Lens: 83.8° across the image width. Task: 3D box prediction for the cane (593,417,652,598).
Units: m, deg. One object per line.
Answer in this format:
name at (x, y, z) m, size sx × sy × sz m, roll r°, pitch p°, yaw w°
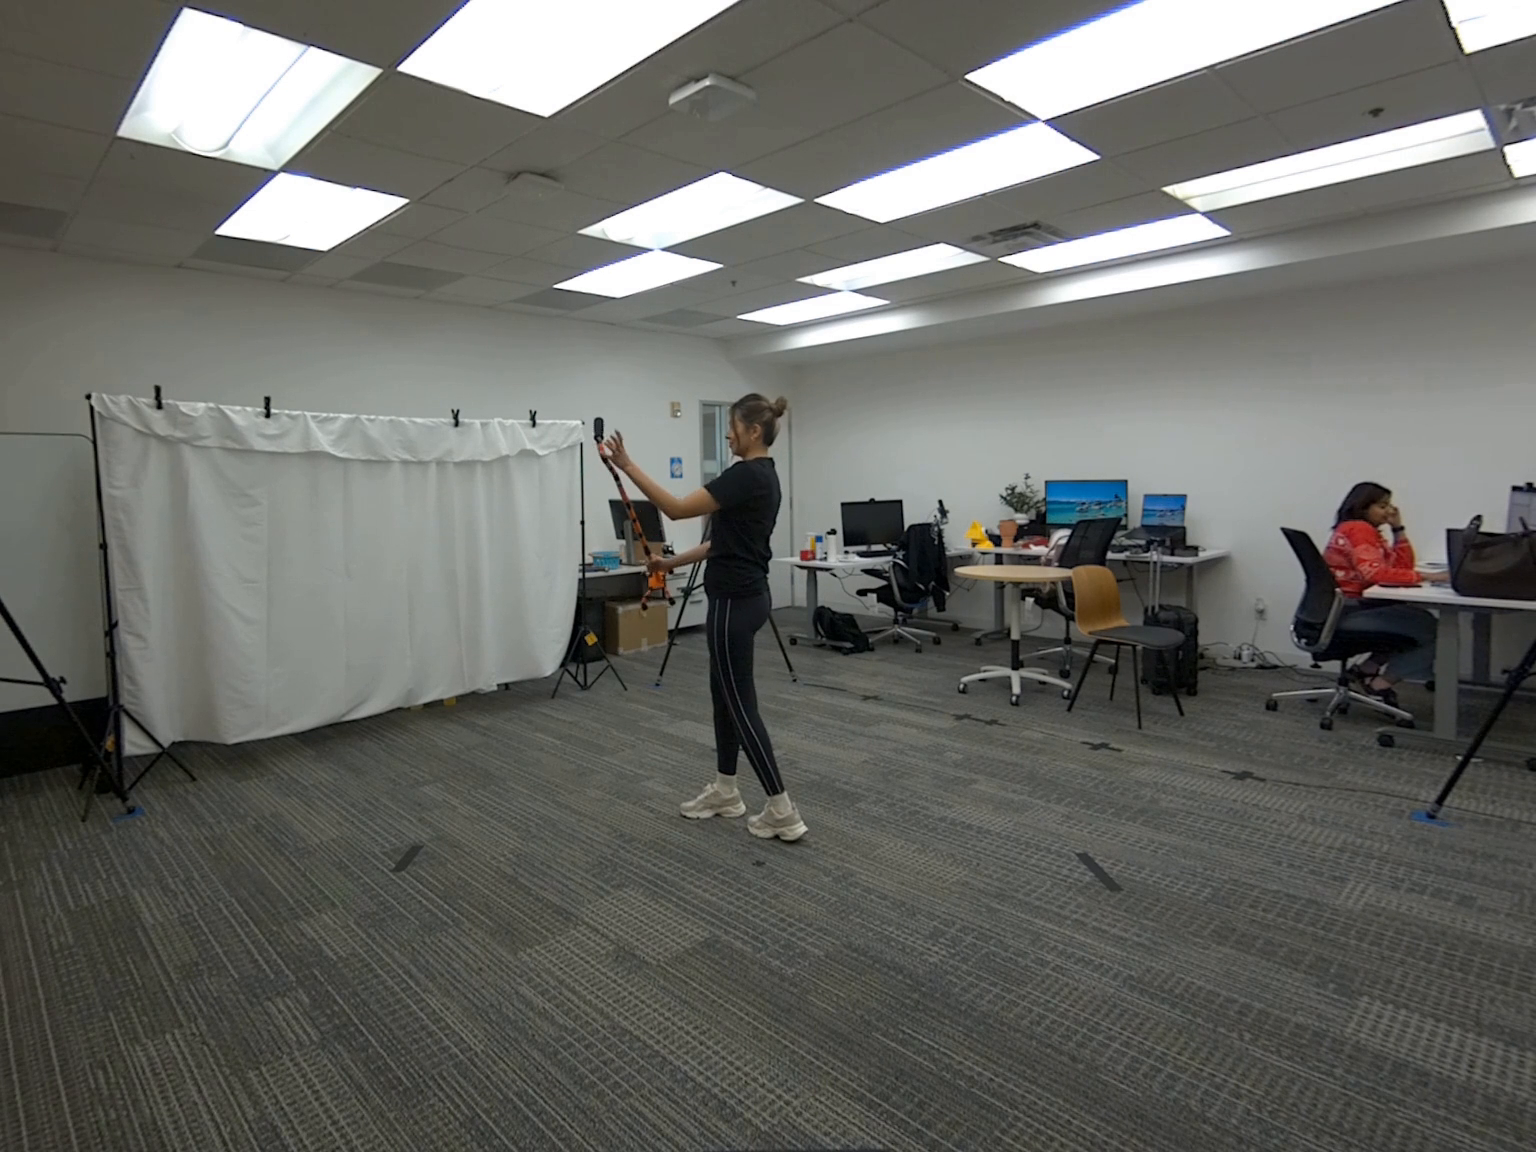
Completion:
cane at (-0.555, -0.228, 3.429) m, size 0.152 × 0.877 × 0.212 m, roll -10°, pitch 47°, yaw 6°
